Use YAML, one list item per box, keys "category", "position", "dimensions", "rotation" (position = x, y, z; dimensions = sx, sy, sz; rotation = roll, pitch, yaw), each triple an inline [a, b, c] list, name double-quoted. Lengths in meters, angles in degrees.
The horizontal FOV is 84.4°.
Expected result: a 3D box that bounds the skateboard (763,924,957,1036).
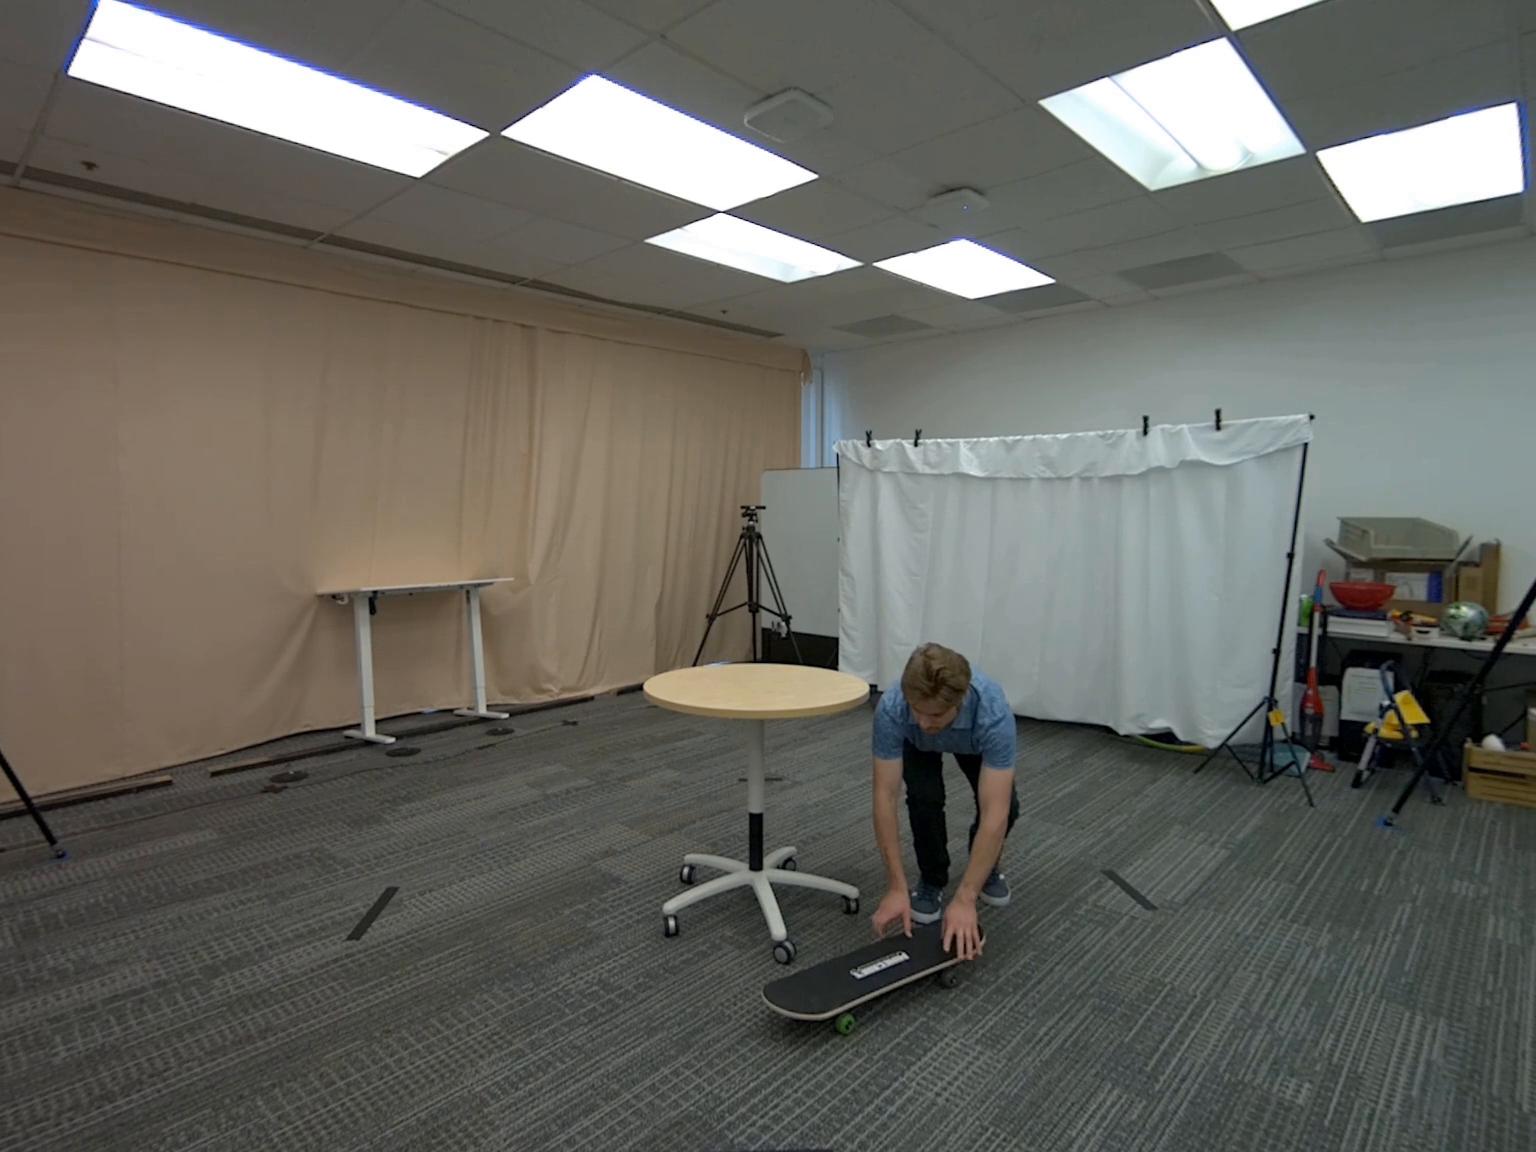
- category: "skateboard"
  position: [0.329, 1.140, 2.388]
  dimensions: [0.763, 0.110, 0.199]
  rotation: [-3, 5, -33]
